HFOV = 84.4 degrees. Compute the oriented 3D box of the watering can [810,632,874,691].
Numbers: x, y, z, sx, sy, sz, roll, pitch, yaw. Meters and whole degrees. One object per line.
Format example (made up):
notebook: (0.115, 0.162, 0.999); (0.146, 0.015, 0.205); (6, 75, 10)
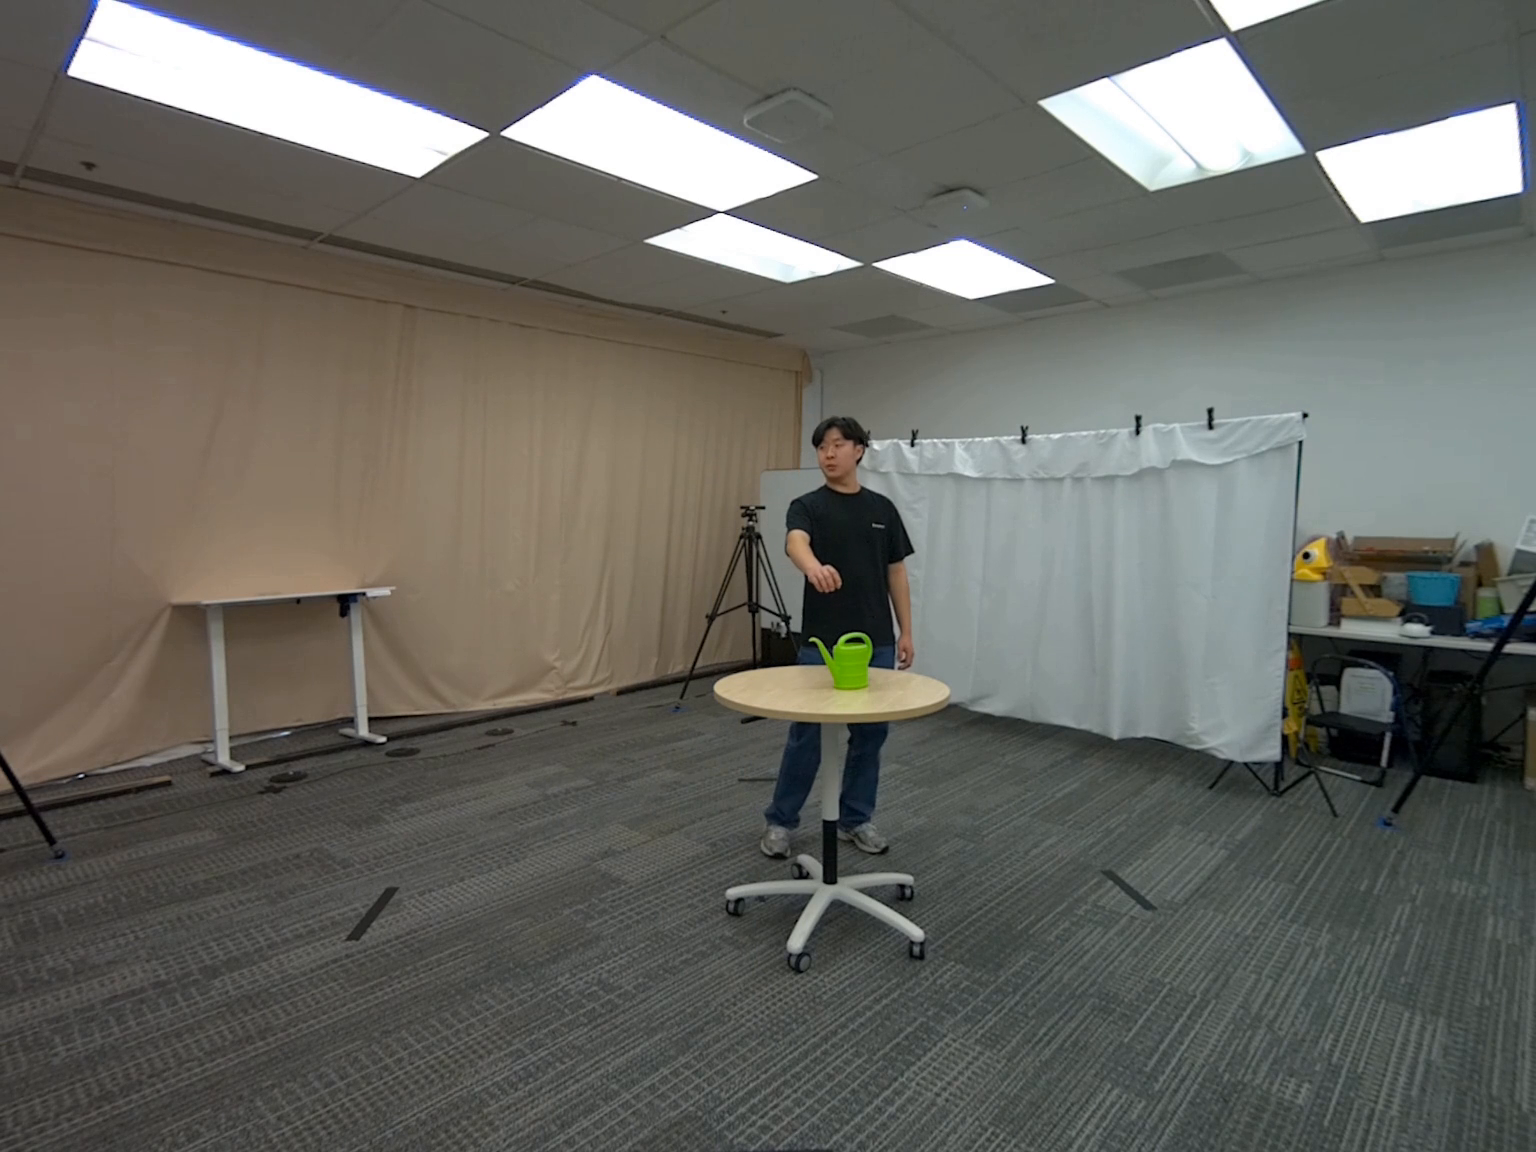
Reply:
watering can: (0.235, 0.277, 2.747); (0.271, 0.177, 0.100); (-1, 2, -26)
